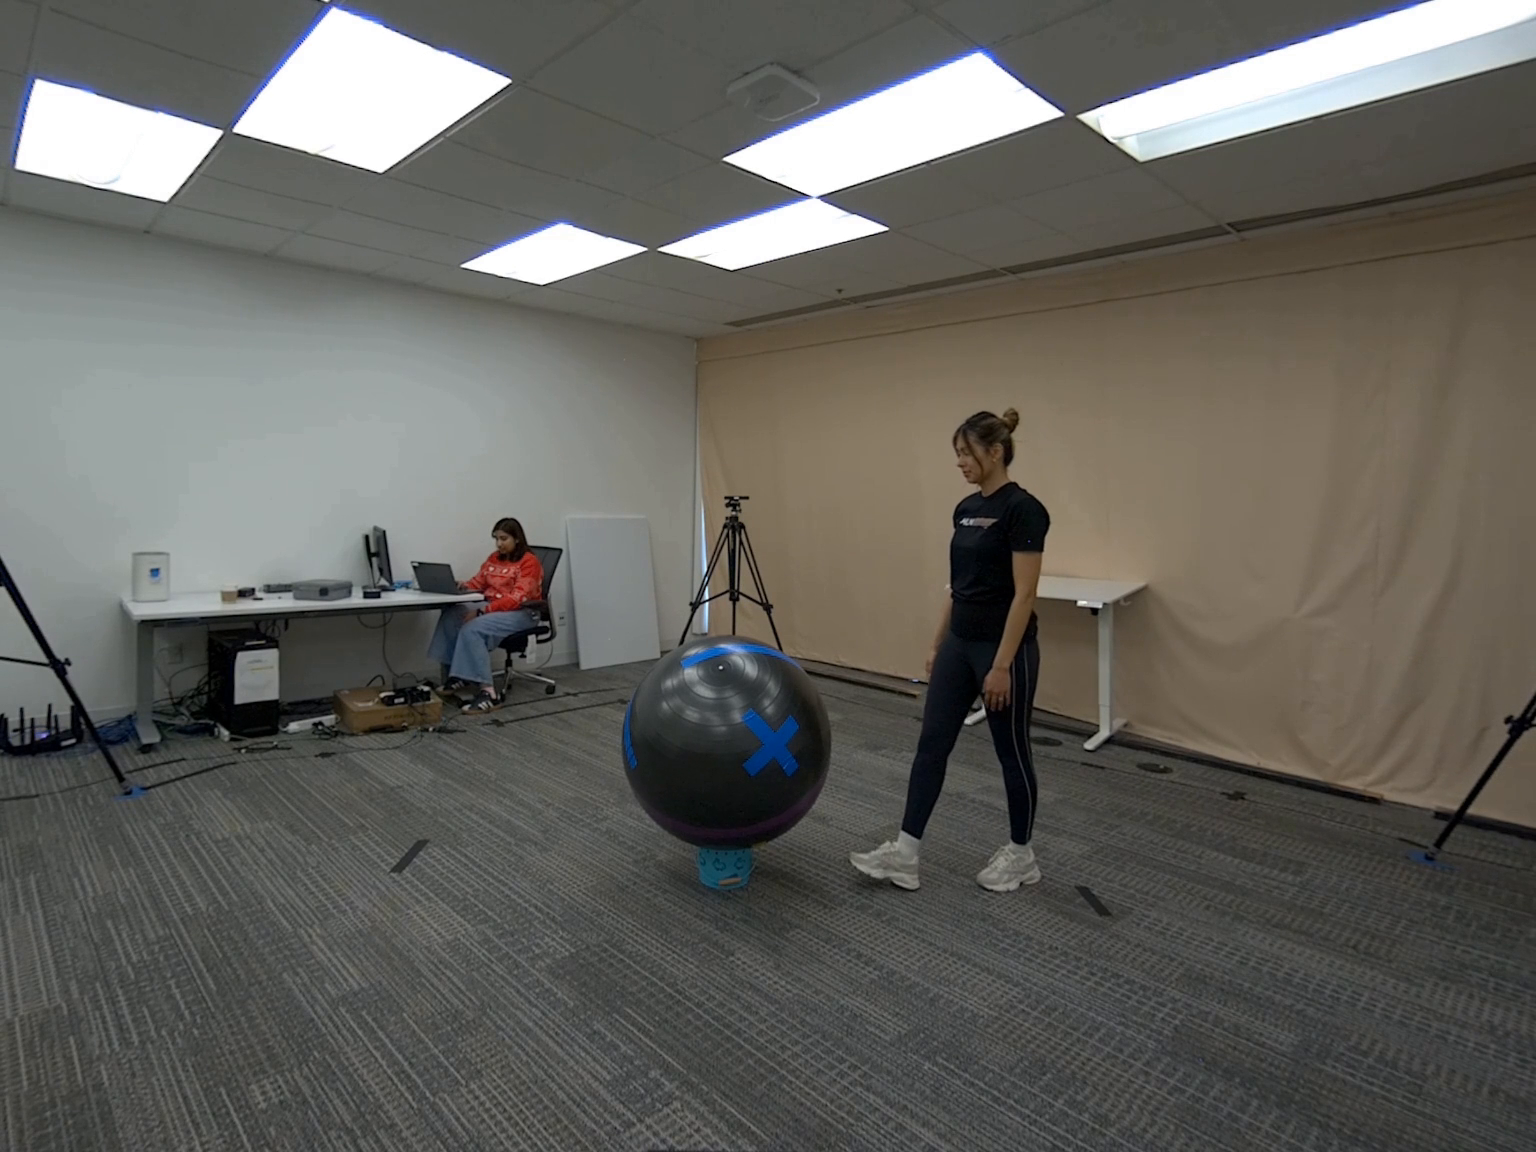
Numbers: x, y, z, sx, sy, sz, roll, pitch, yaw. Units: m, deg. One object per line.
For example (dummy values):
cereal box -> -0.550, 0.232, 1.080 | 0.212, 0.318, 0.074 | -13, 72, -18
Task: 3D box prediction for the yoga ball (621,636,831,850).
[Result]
yoga ball -> -0.149, 0.594, 3.051 | 0.757, 0.756, 0.761 | 1, 4, -1
